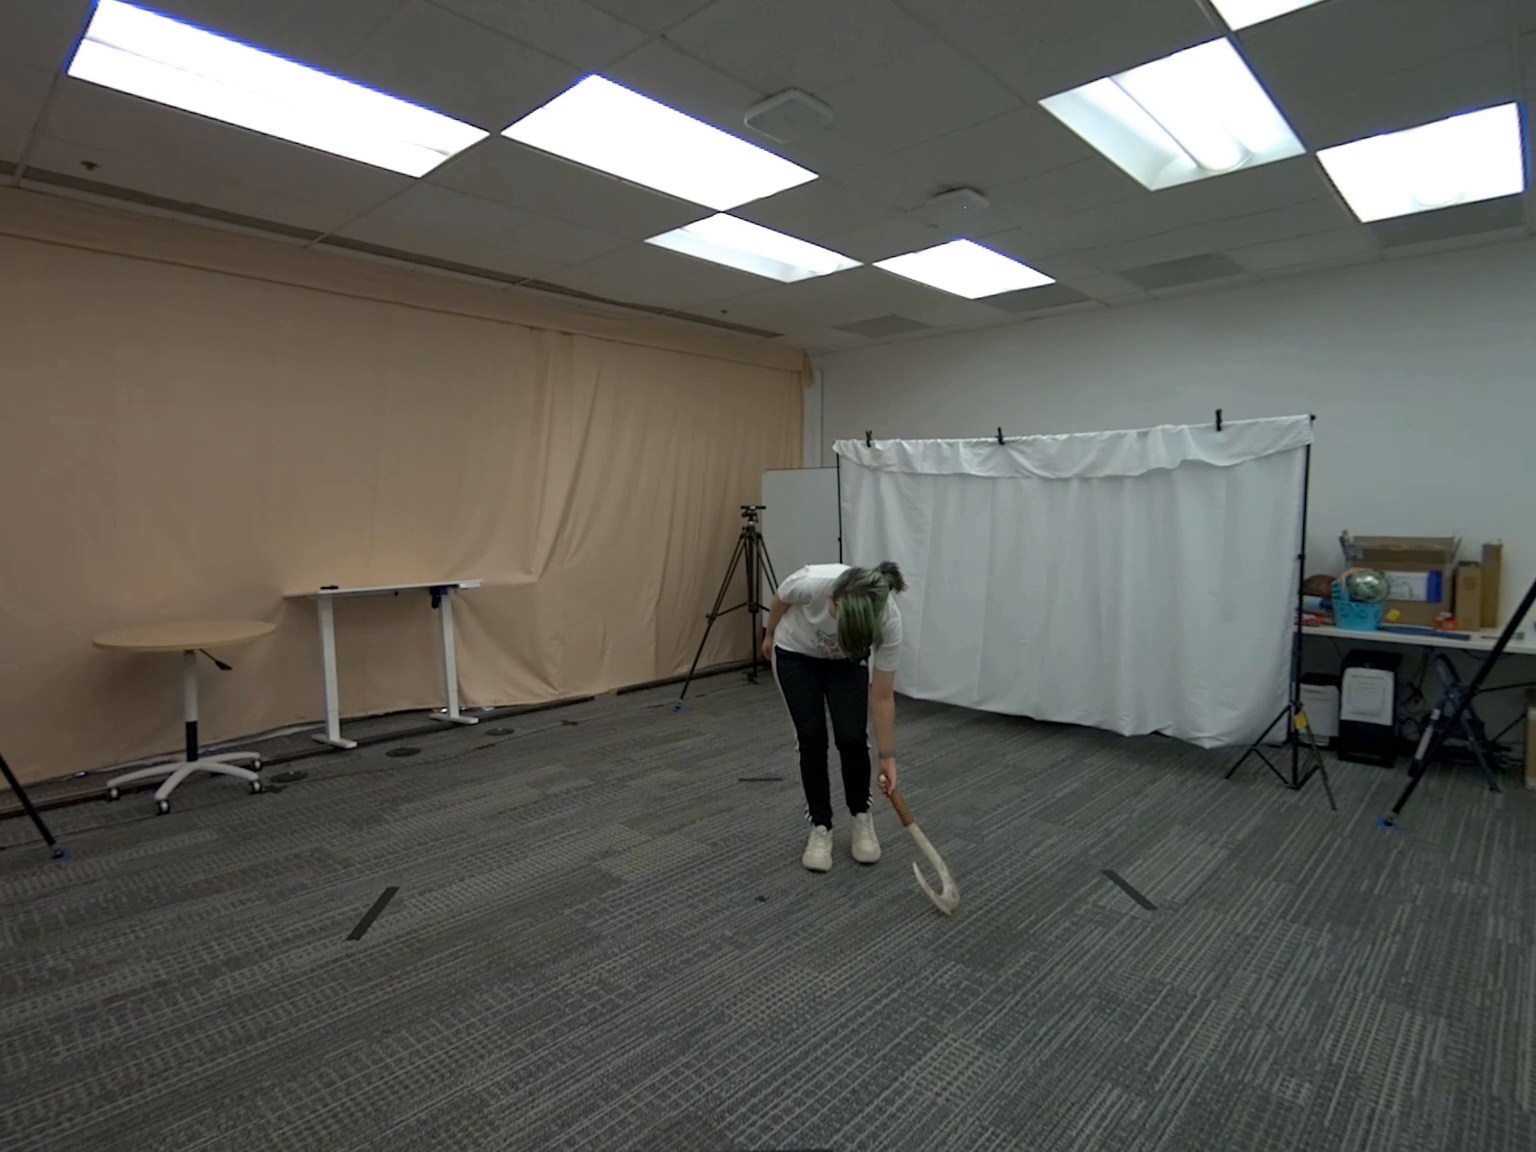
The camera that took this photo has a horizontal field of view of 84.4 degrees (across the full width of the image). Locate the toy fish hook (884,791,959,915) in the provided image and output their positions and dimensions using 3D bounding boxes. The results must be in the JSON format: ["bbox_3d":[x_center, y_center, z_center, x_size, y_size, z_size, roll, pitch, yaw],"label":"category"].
[{"bbox_3d":[0.526,0.938,2.963,0.049,0.517,0.218,-39,-22,21],"label":"toy fish hook"}]
